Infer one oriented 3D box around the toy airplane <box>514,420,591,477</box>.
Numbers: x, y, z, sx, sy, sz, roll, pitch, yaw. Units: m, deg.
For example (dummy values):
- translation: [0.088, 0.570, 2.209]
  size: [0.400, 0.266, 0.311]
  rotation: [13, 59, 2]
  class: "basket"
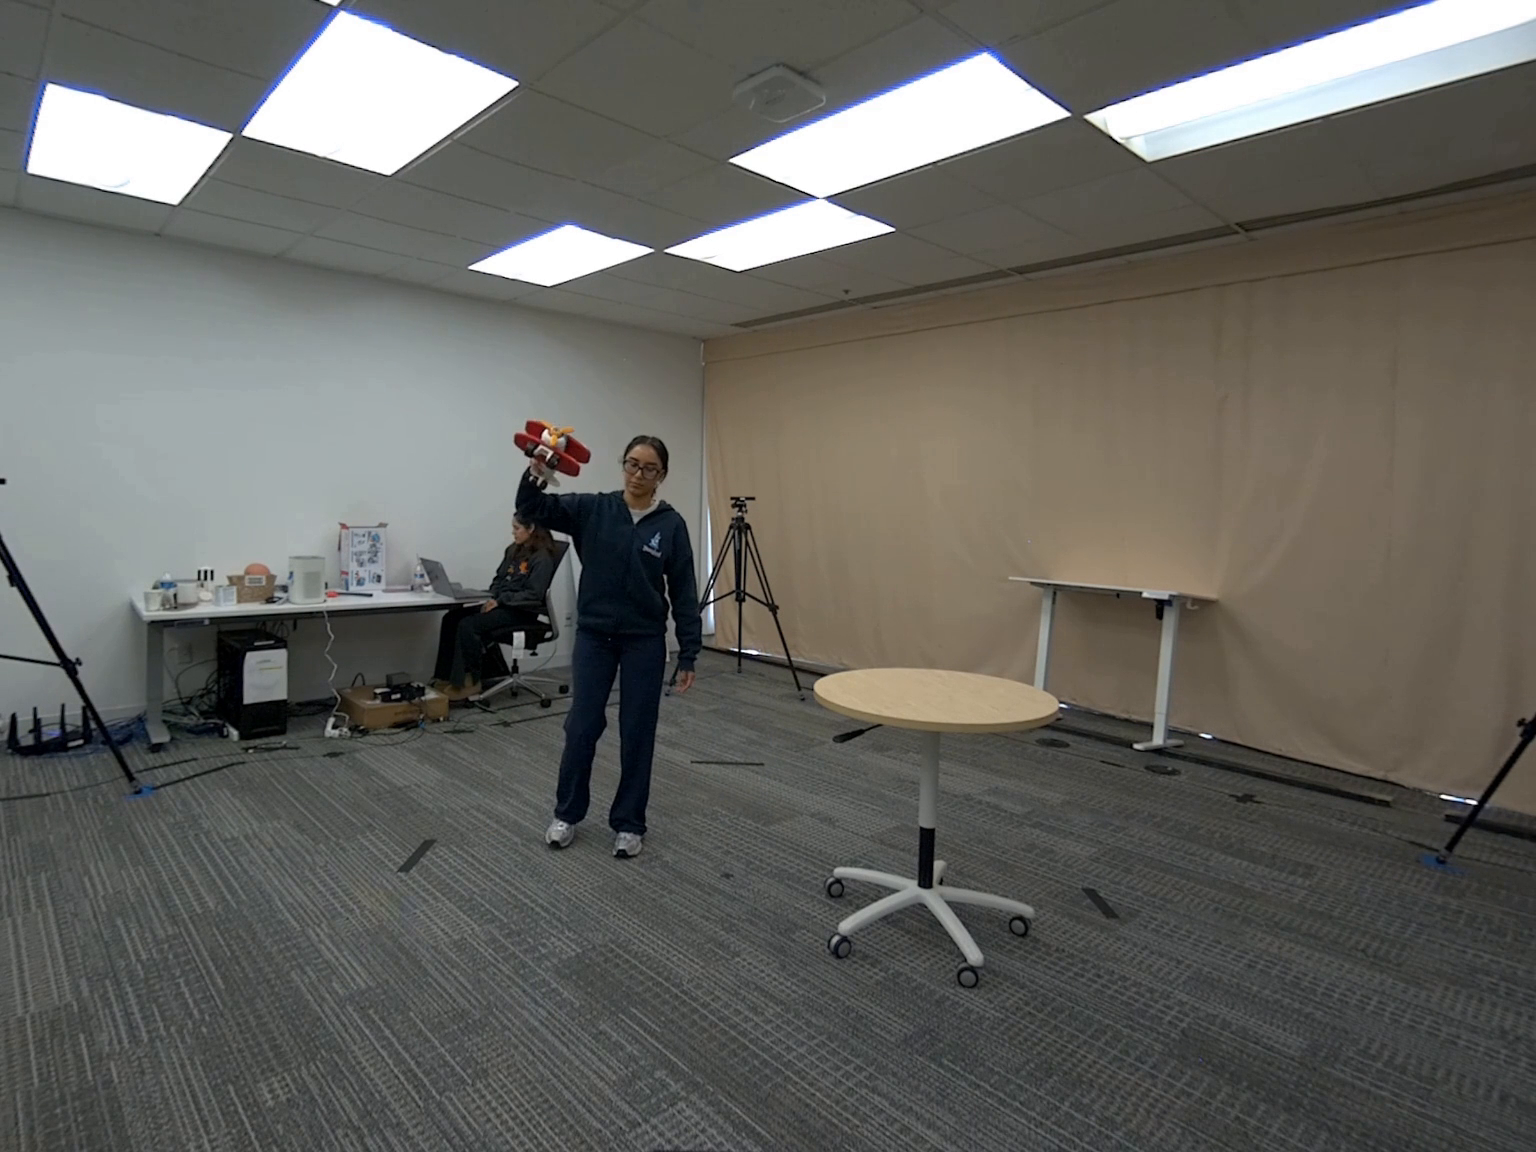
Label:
- translation: [-0.788, -0.421, 2.944]
  size: [0.245, 0.157, 0.264]
  rotation: [41, -30, -26]
  class: "toy airplane"
